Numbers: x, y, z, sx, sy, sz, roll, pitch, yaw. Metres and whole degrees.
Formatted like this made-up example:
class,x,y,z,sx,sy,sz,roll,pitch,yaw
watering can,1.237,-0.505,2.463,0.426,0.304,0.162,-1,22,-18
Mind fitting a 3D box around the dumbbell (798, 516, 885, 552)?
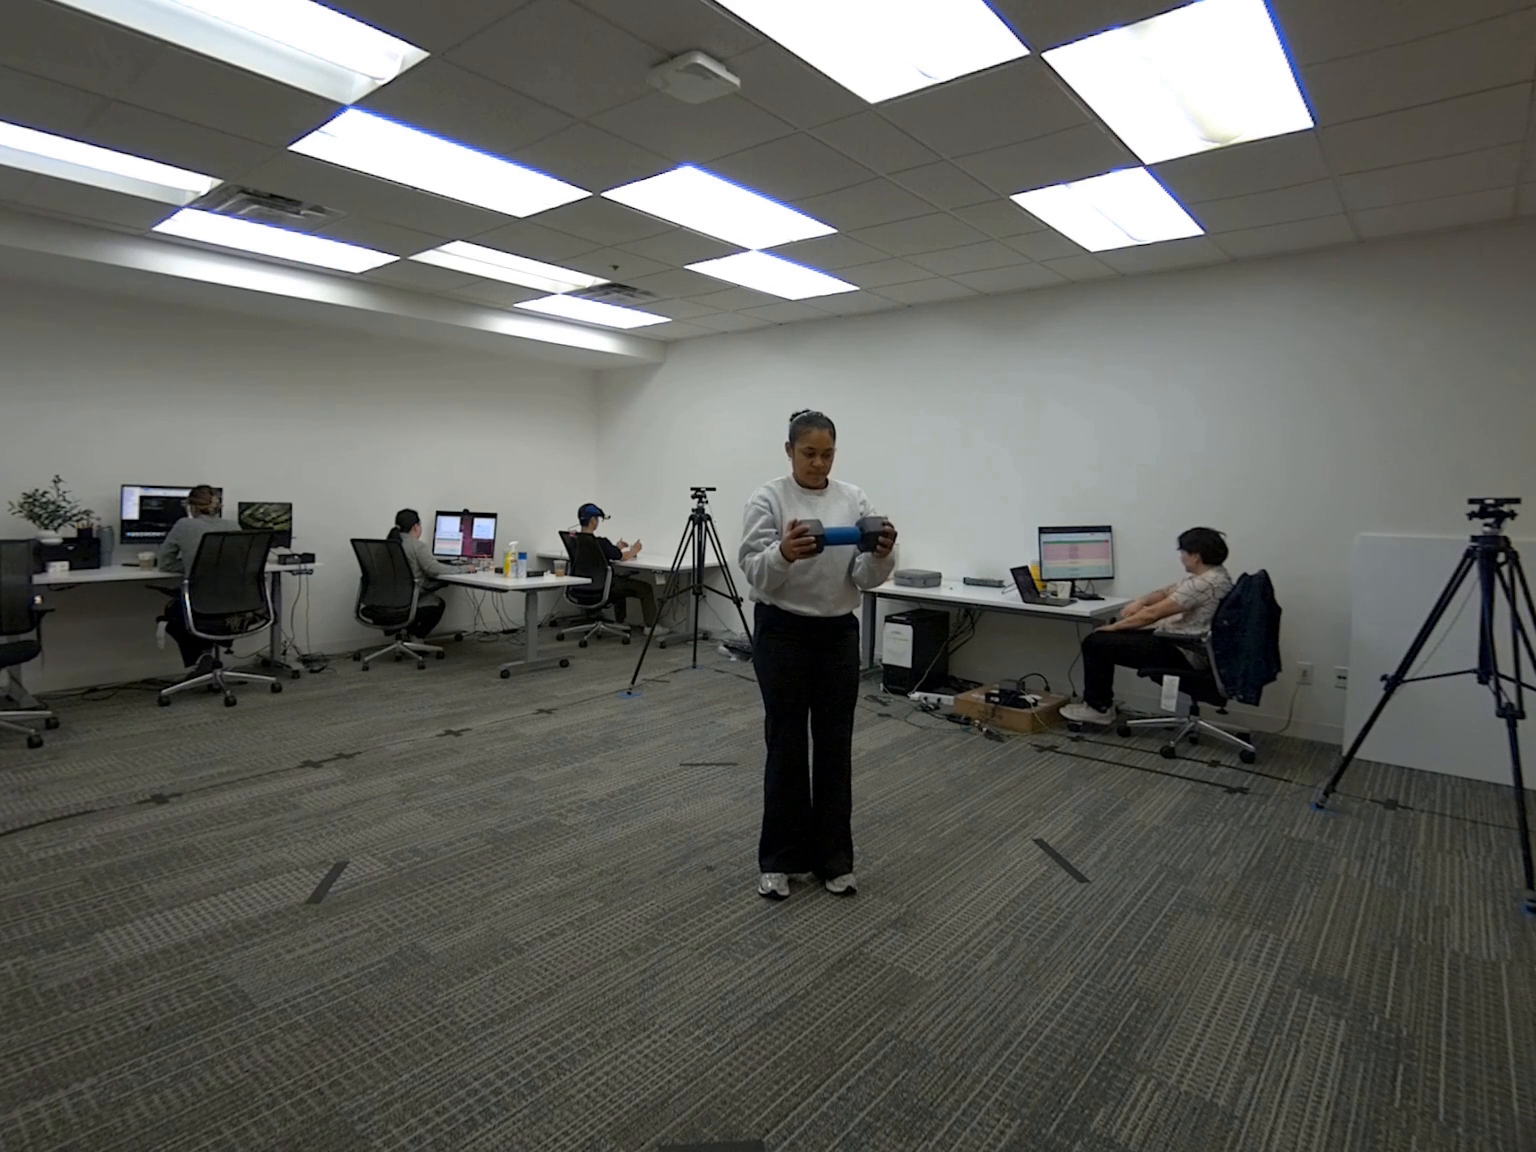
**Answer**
class,x,y,z,sx,sy,sz,roll,pitch,yaw
dumbbell,0.214,-0.129,2.712,0.291,0.109,0.123,-4,-3,-8
